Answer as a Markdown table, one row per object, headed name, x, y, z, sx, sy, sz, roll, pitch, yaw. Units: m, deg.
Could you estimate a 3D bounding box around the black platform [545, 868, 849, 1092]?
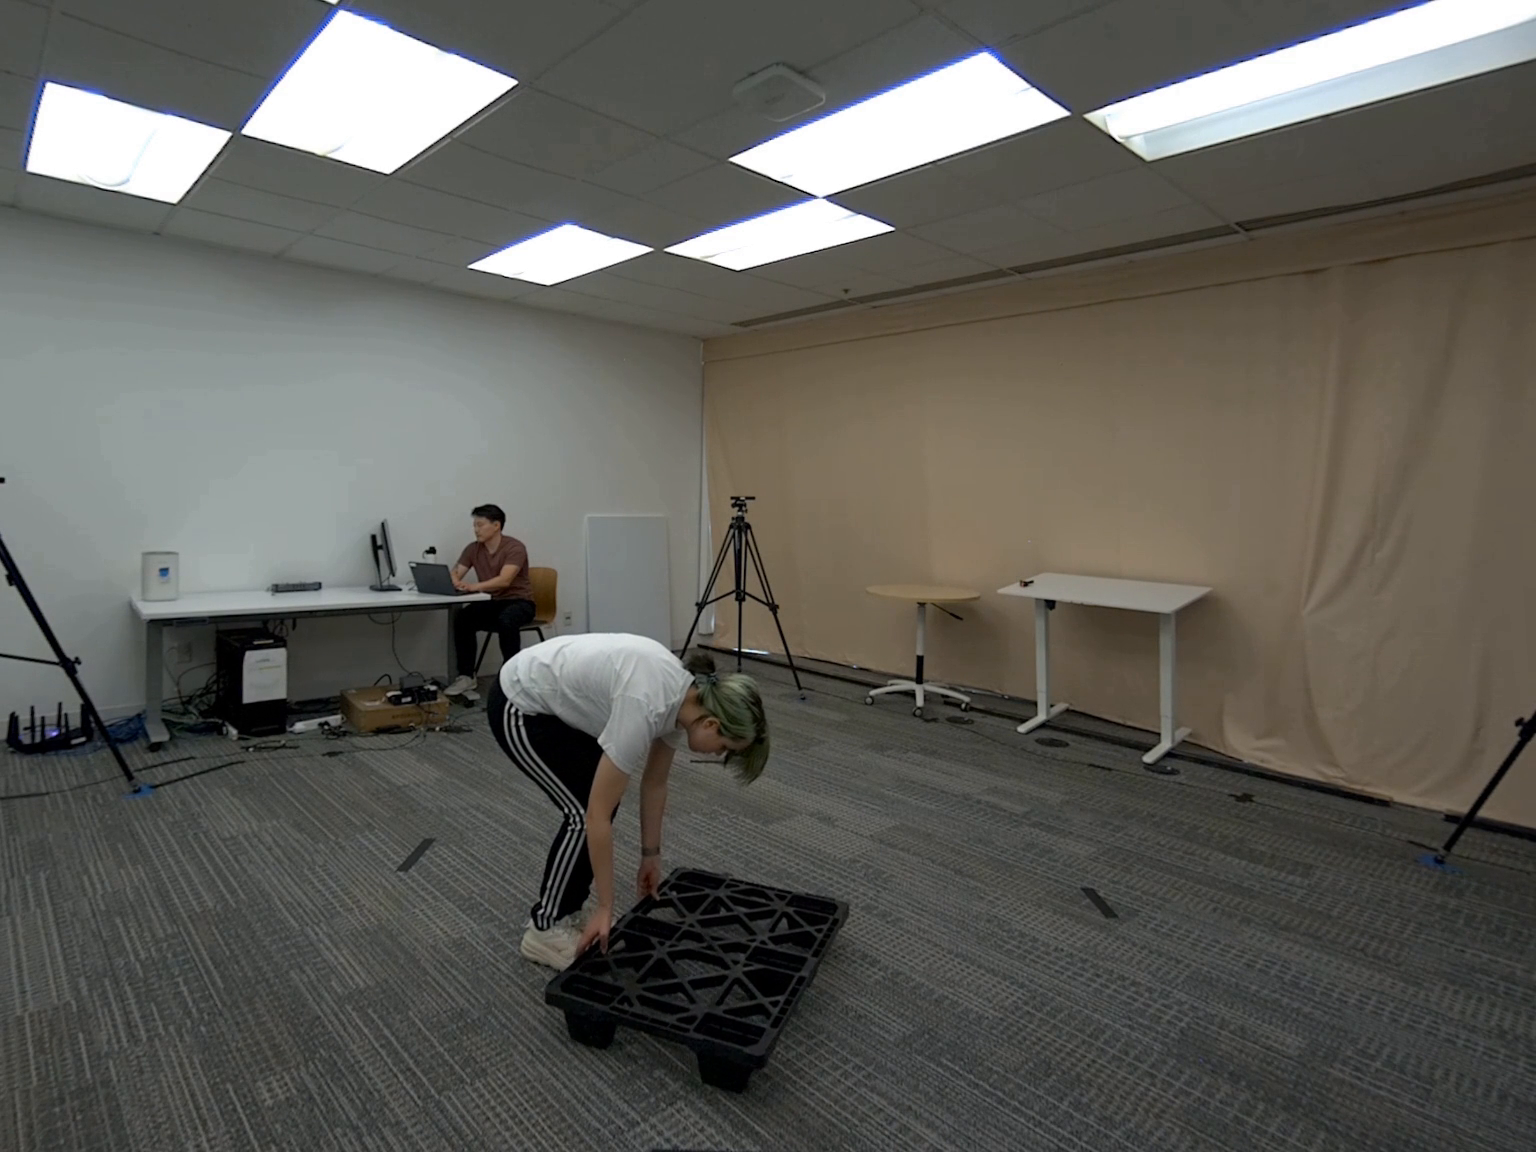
| name | x | y | z | sx | sy | sz | roll | pitch | yaw |
| --- | --- | --- | --- | --- | --- | --- | --- | --- | --- |
| black platform | -0.159 | 1.101 | 2.386 | 0.615 | 0.143 | 0.794 | 5 | 6 | 20 |
